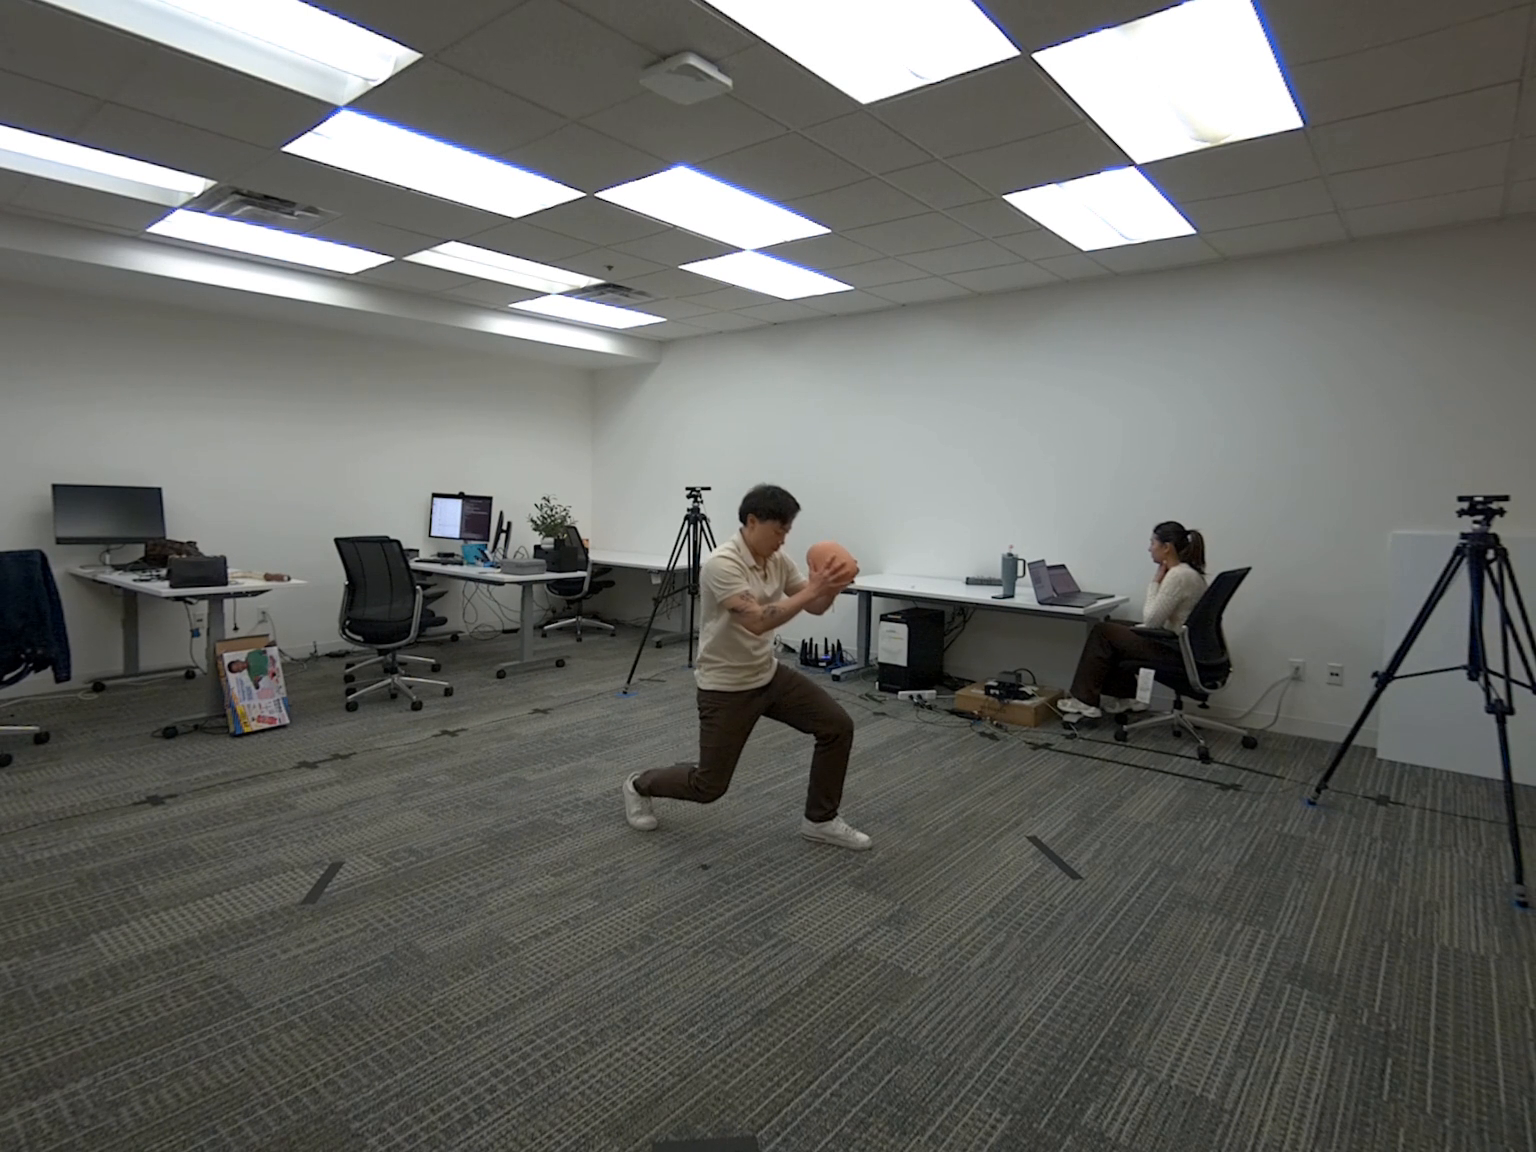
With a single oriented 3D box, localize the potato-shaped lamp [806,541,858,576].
[{"bbox_3d":[0.214,-0.029,3.211,0.172,0.201,0.162,-38,-8,17],"label":"potato-shaped lamp"}]
